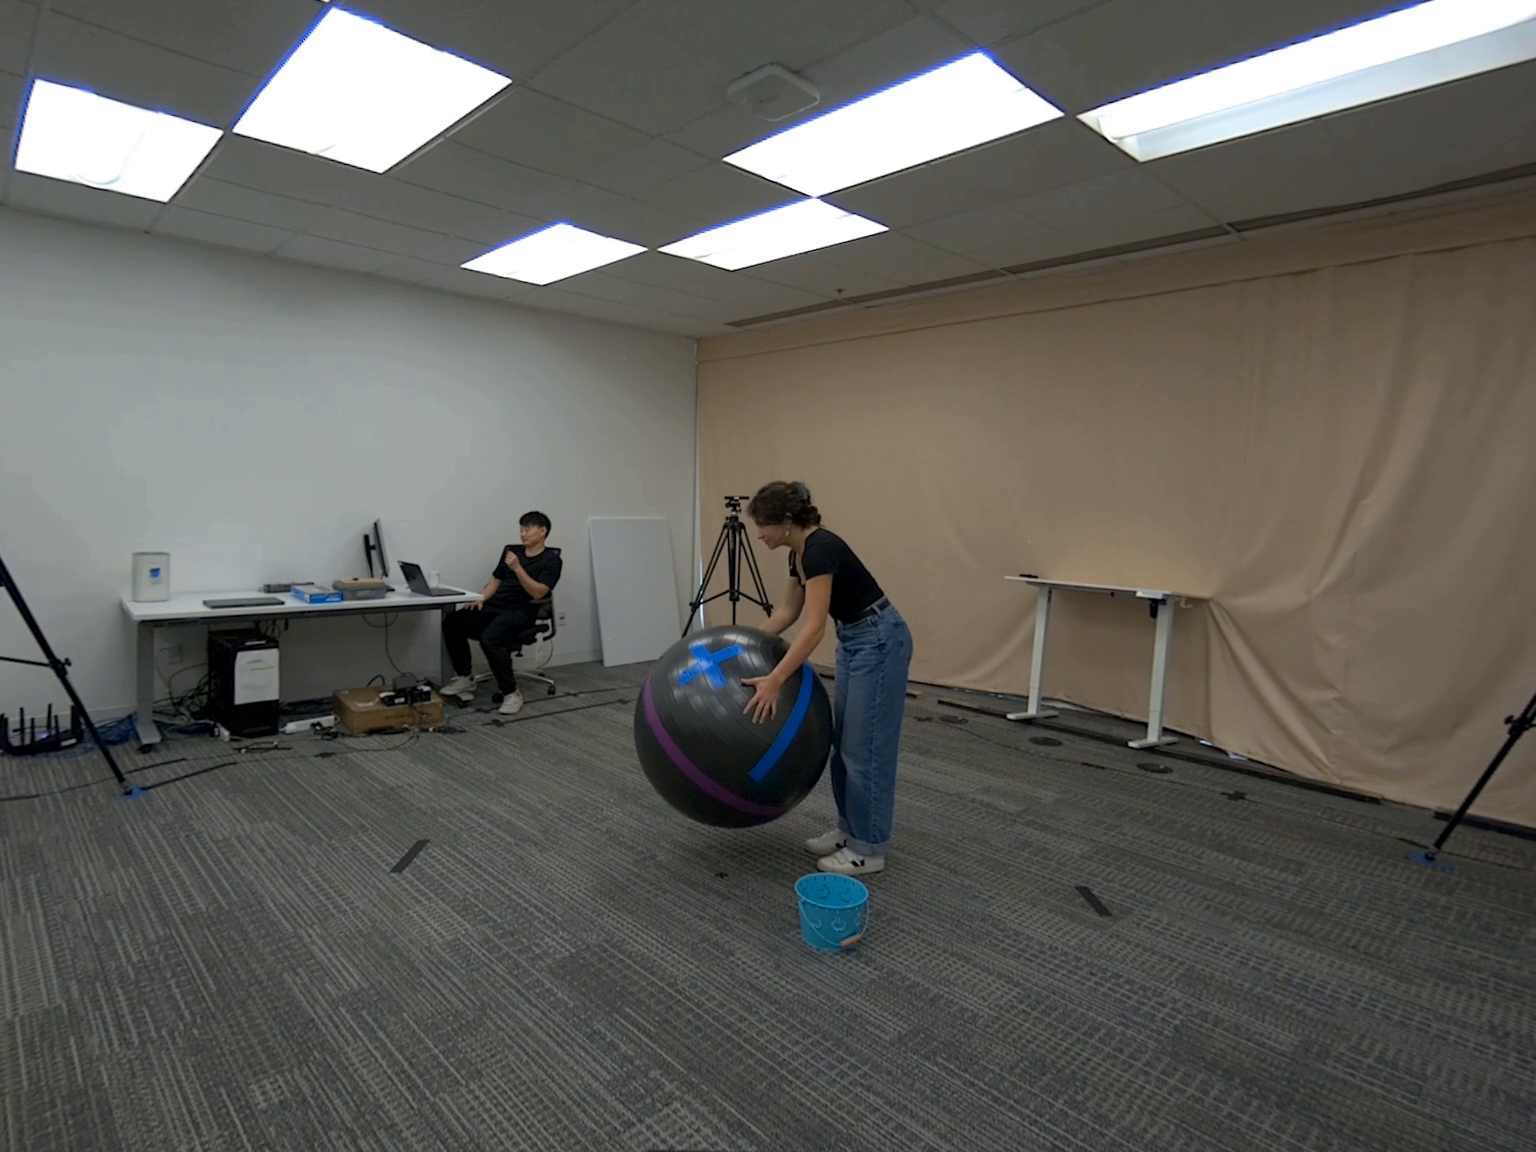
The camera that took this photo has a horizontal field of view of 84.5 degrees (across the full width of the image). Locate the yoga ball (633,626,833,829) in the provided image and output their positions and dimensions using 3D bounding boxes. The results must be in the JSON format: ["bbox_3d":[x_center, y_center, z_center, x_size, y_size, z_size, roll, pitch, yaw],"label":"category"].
[{"bbox_3d":[-0.147,0.583,3.231,0.757,0.756,0.761,1,4,-1],"label":"yoga ball"}]
